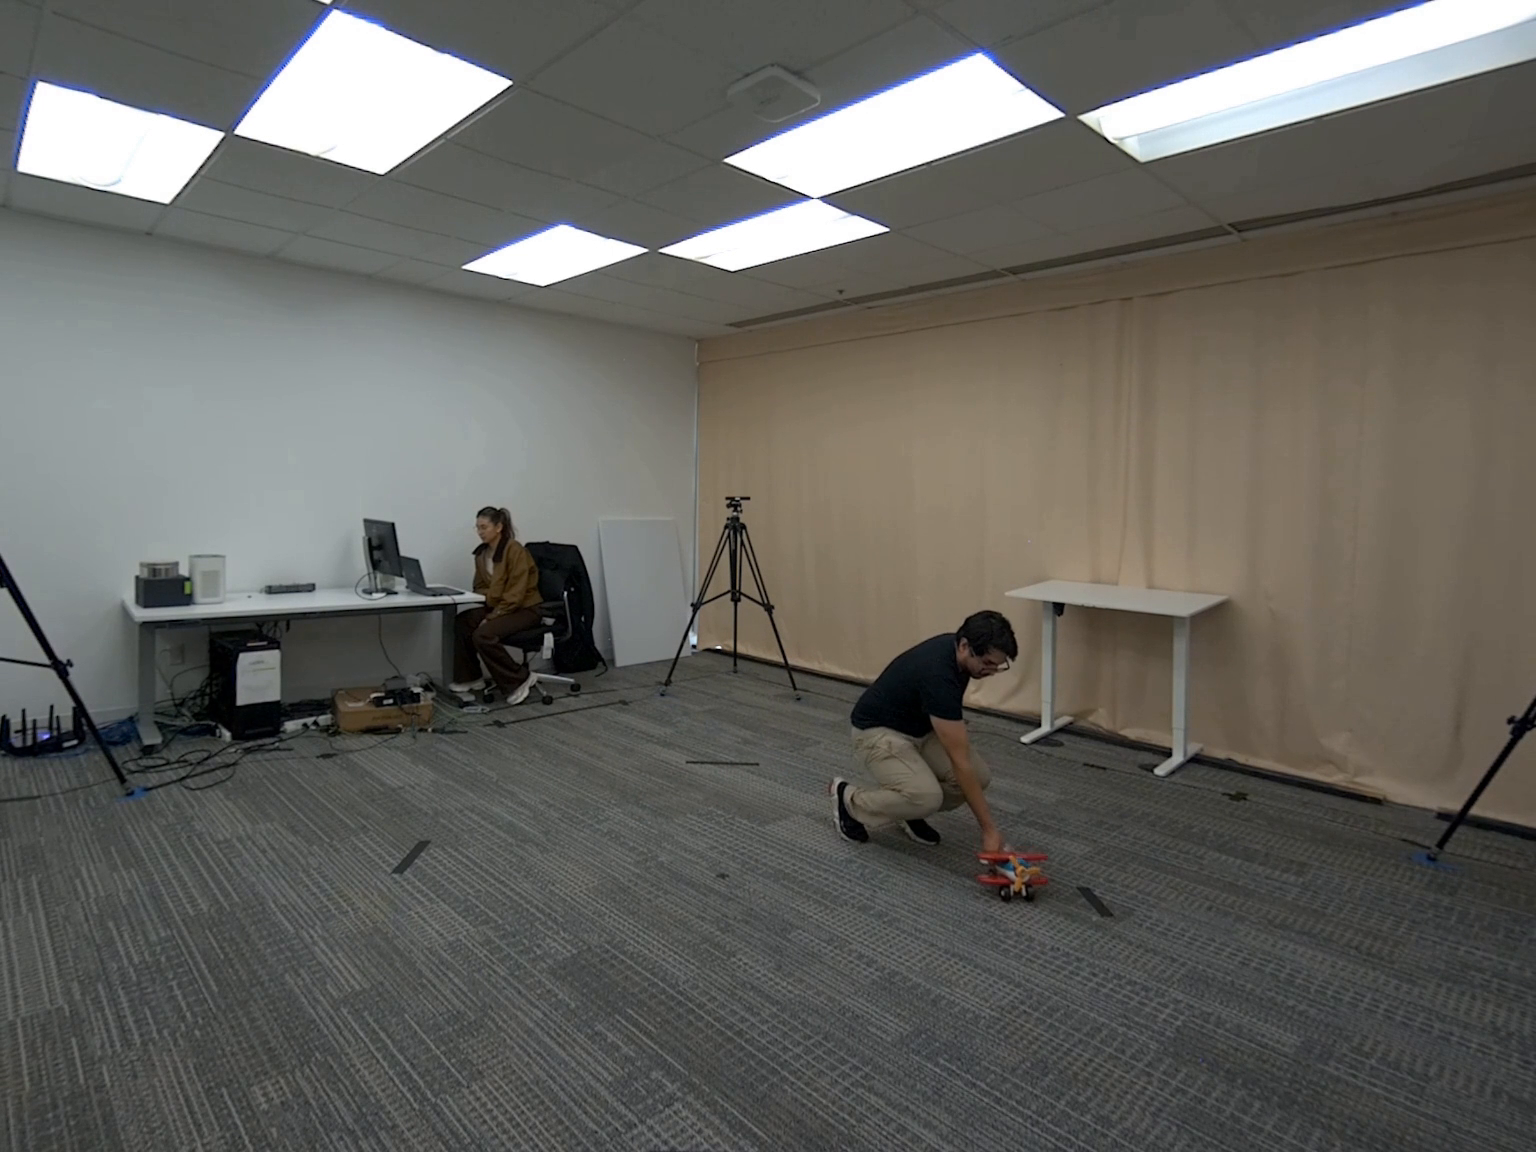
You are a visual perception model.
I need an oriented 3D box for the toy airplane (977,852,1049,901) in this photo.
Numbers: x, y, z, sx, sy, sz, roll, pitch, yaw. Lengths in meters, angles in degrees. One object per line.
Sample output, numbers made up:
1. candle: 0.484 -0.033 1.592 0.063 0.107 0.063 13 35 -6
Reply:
1. toy airplane: 0.844 1.062 3.049 0.246 0.156 0.265 -1 7 -31
